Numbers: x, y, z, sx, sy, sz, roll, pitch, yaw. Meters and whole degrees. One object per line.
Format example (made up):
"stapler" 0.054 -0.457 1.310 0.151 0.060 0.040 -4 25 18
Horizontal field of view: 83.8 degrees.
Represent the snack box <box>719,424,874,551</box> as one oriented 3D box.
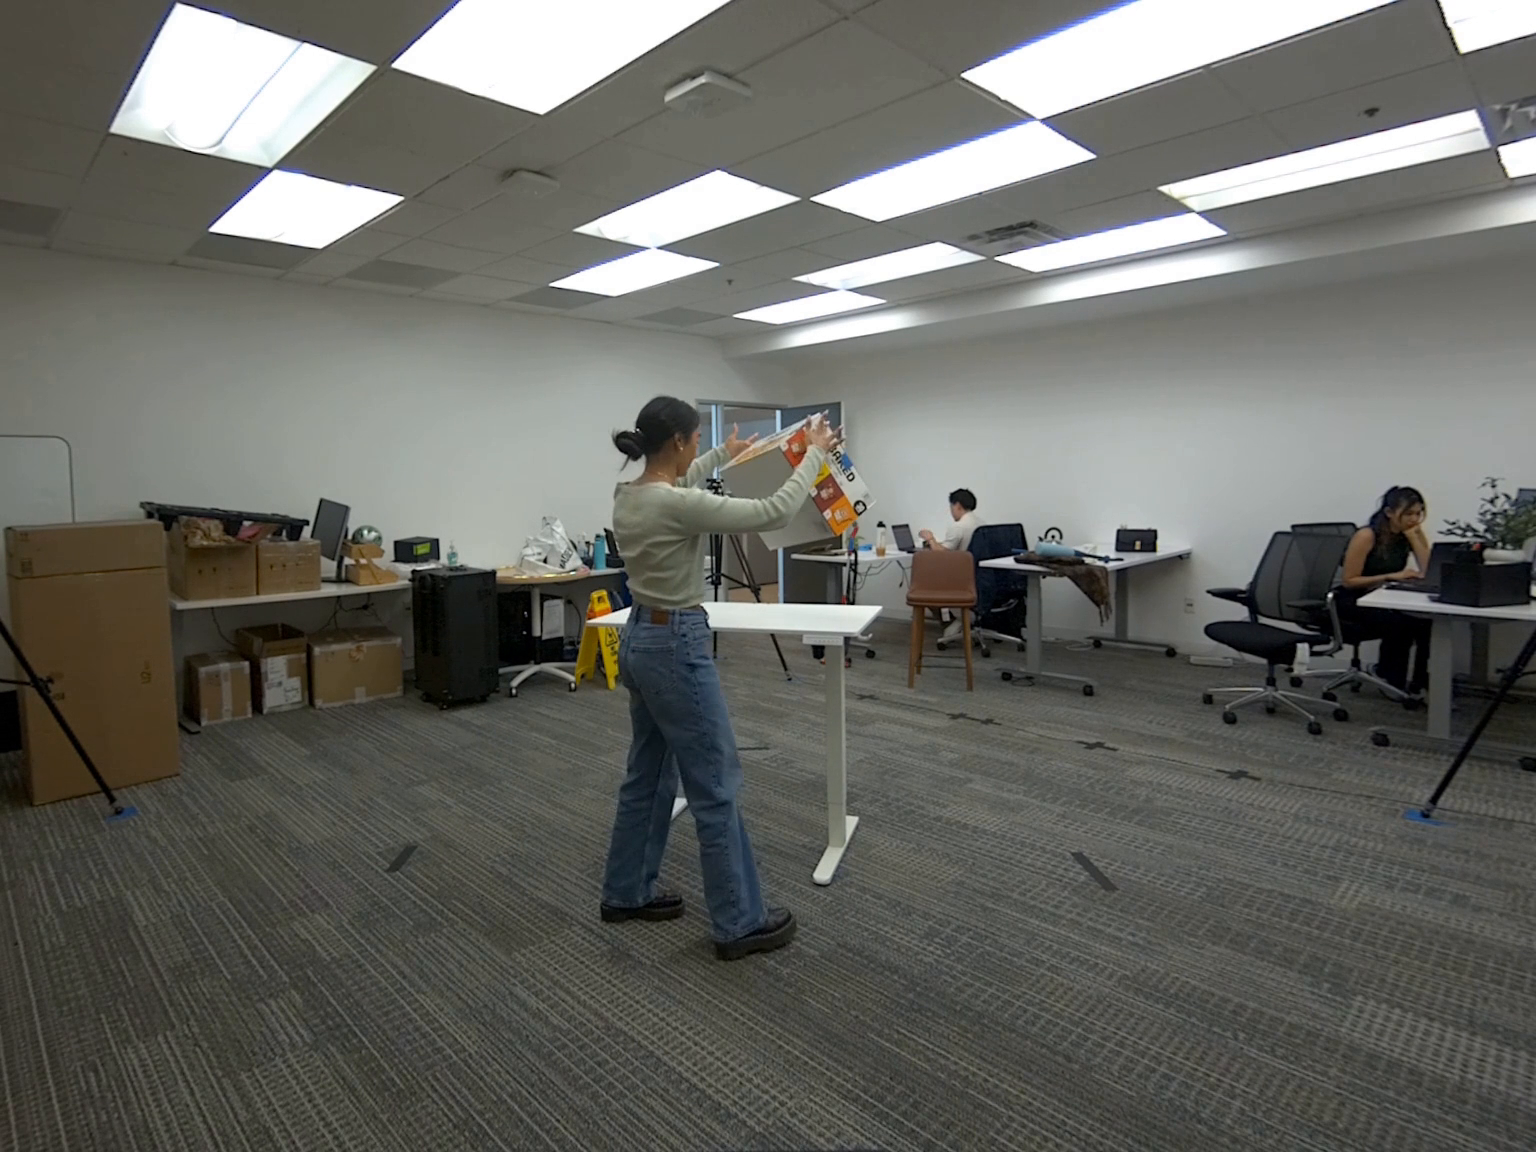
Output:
"snack box" 0.087 -0.299 2.827 0.205 0.336 0.412 -39 13 -28
